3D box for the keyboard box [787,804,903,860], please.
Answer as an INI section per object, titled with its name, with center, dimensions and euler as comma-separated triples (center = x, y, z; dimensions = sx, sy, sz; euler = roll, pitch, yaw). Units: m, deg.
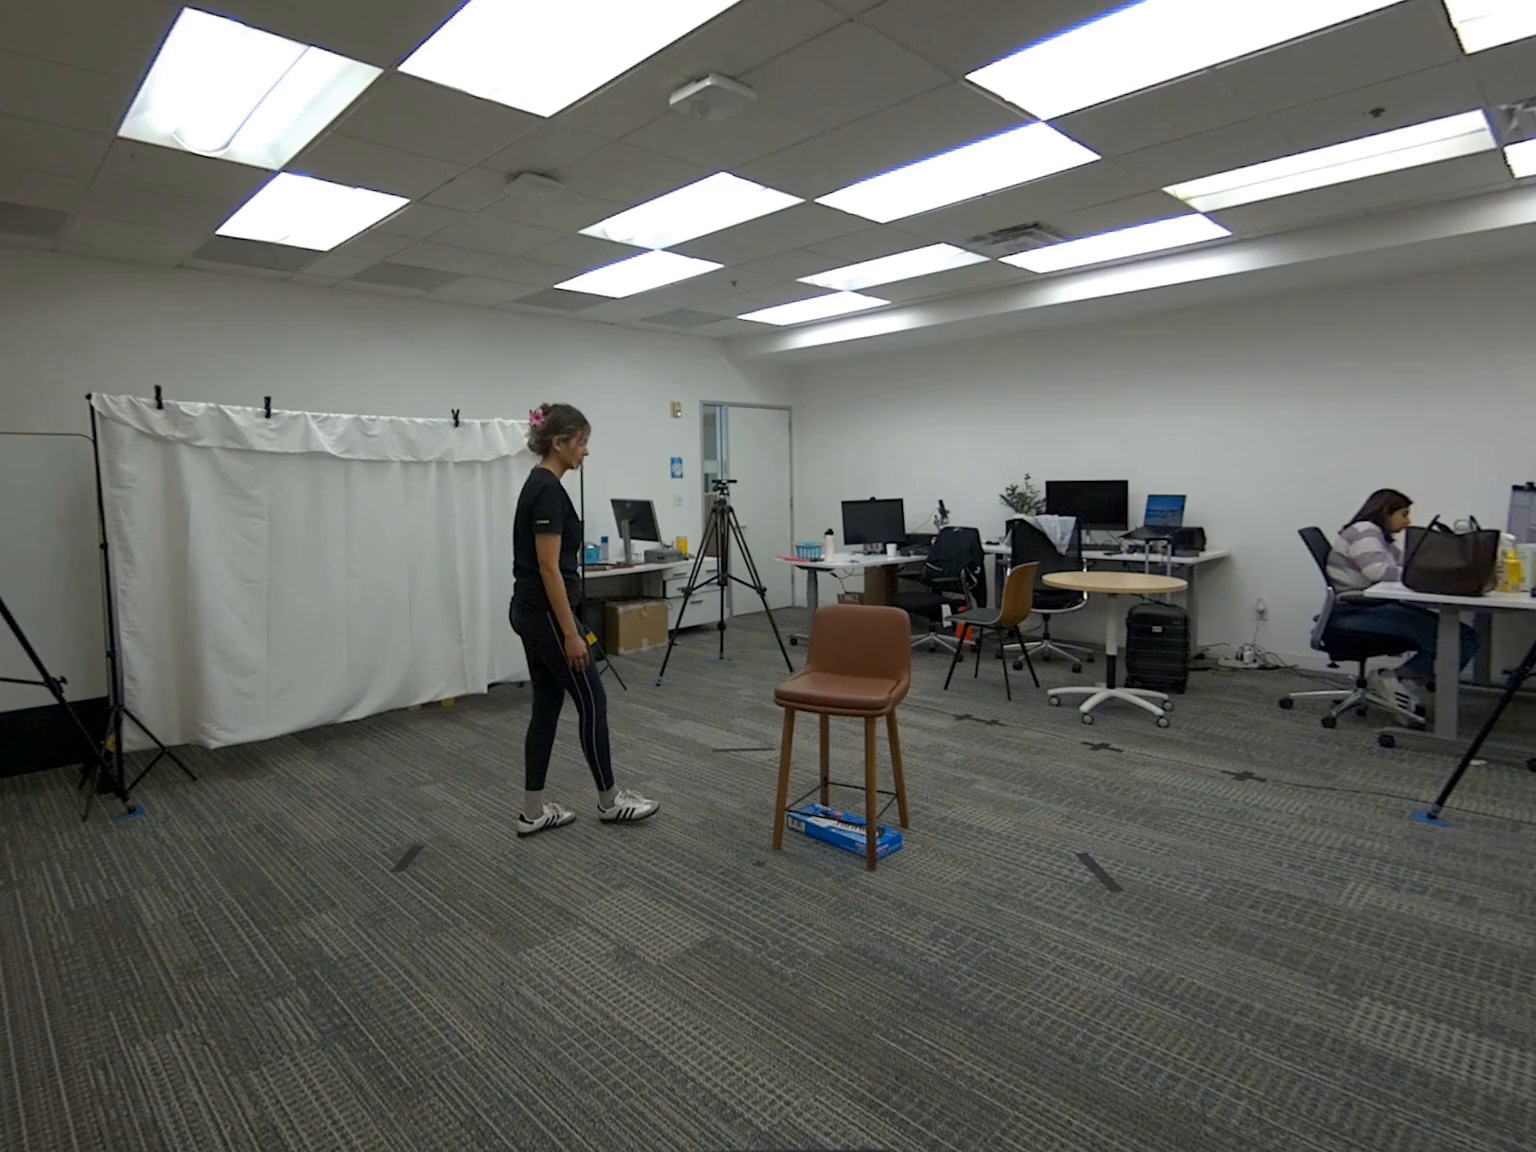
[keyboard box]
center = 0.294, 0.993, 3.320
dimensions = 0.171, 0.059, 0.450
euler = -7, 8, -43
